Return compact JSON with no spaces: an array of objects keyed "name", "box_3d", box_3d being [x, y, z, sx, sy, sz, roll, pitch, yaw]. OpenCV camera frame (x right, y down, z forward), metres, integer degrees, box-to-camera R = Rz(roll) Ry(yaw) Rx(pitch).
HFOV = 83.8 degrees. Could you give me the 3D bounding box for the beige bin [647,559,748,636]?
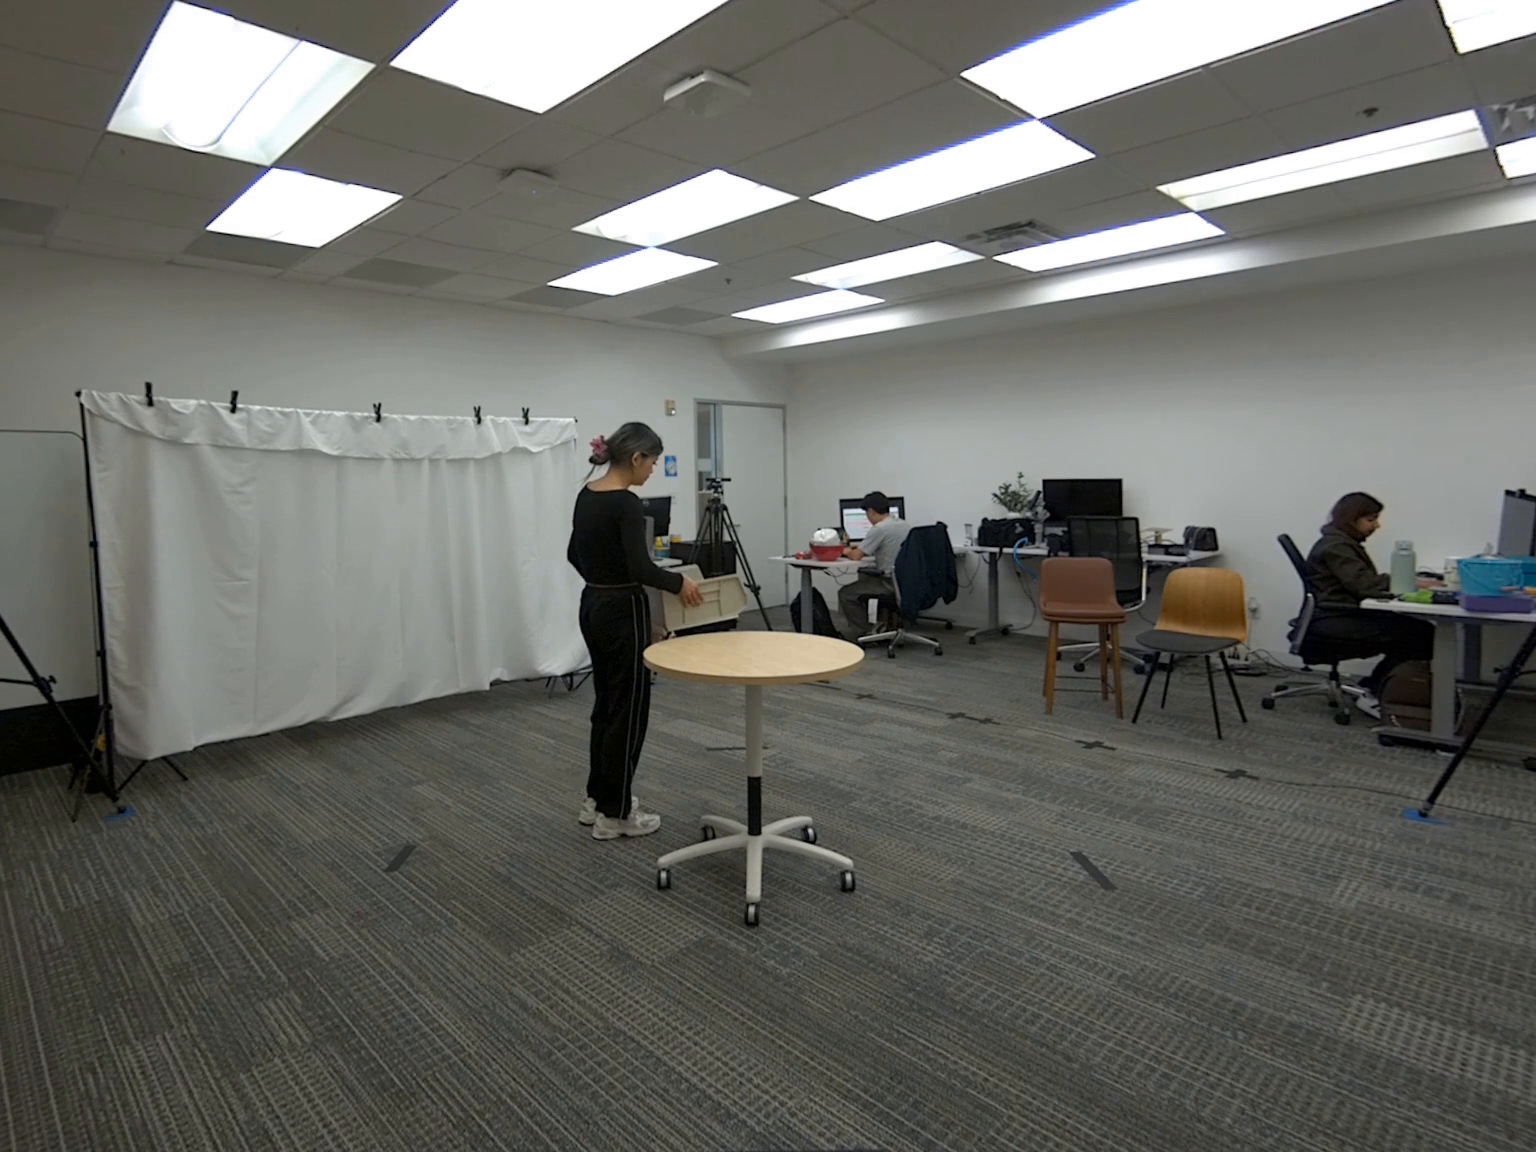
[{"name":"beige bin","box_3d":[-0.342,0.079,3.588,0.370,0.187,0.434,-11,11,-27]}]
